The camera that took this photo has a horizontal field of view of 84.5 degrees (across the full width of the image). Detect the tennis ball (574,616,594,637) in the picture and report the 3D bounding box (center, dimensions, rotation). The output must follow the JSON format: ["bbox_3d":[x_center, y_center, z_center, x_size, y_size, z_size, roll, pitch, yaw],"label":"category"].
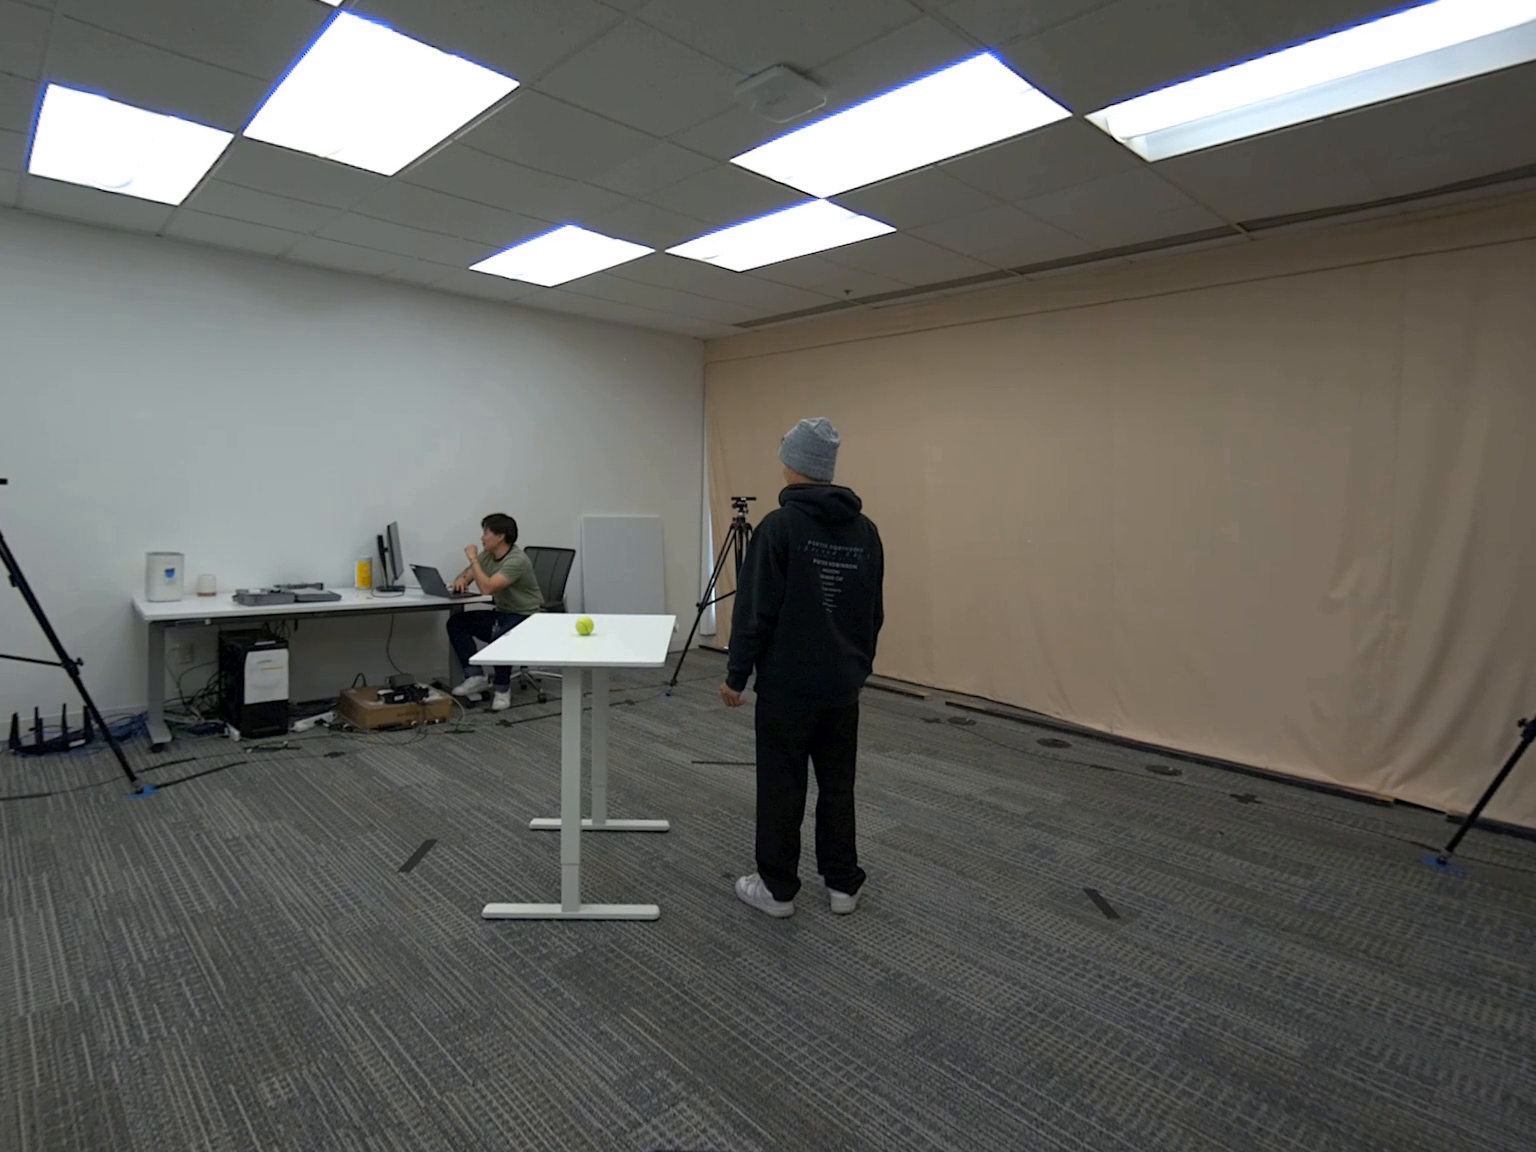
[{"bbox_3d":[-0.661,0.186,3.071,0.066,0.066,0.067,1,4,-1],"label":"tennis ball"}]
